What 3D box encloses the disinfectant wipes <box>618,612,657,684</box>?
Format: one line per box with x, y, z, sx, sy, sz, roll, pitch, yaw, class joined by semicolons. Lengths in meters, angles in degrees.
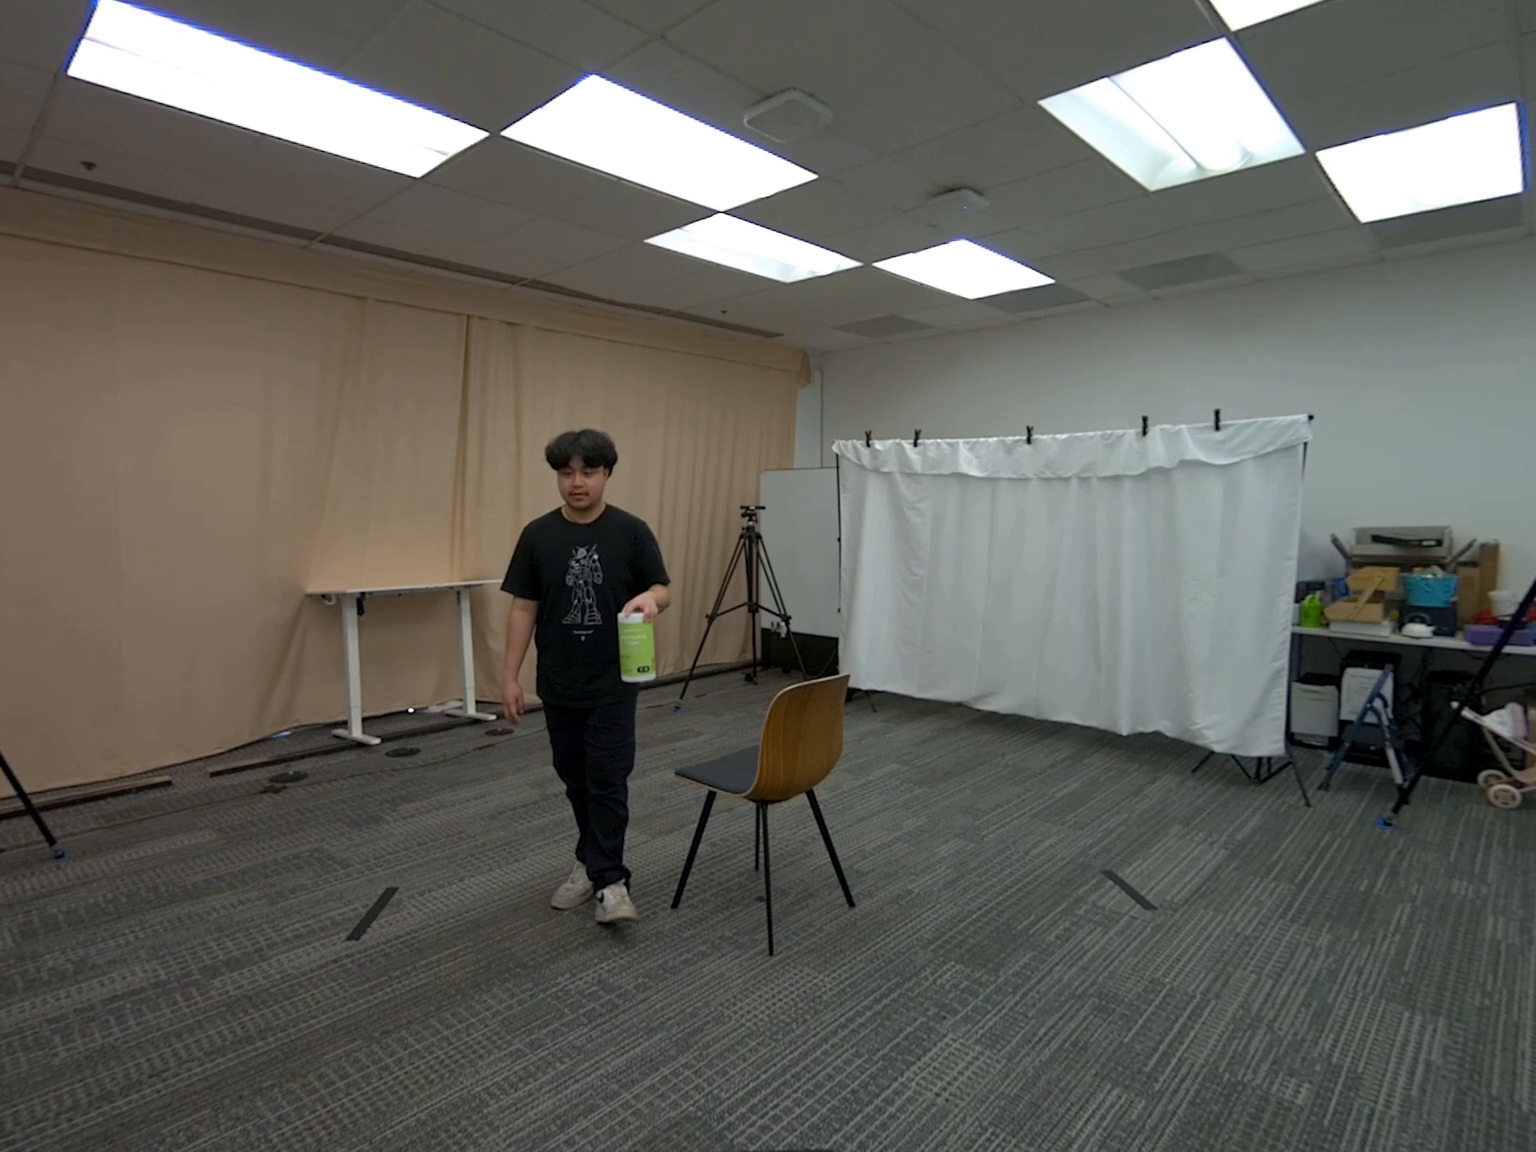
-0.412;0.222;2.657;0.118;0.217;0.118;-3;1;-2;disinfectant wipes
